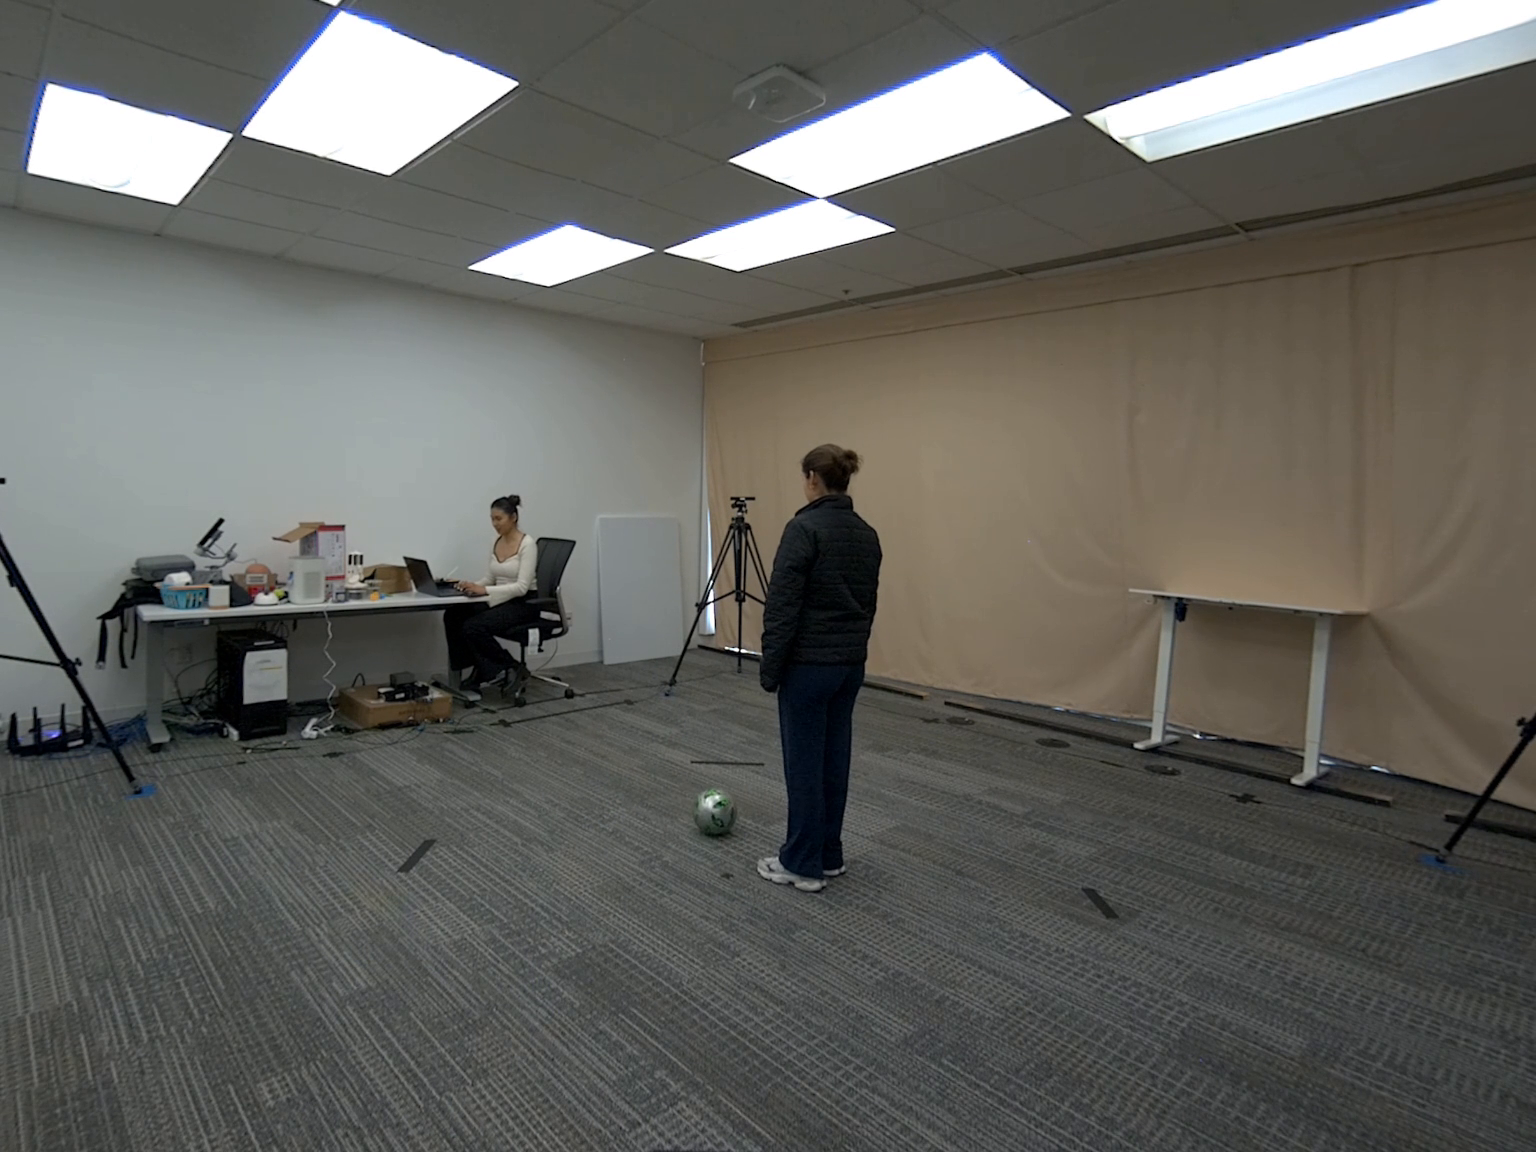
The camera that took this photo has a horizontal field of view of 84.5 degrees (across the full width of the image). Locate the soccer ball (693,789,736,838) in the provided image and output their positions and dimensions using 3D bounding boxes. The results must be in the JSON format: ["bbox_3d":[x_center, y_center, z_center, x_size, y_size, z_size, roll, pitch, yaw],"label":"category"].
[{"bbox_3d":[-0.232,0.980,3.490,0.187,0.187,0.188,1,4,-1],"label":"soccer ball"}]
